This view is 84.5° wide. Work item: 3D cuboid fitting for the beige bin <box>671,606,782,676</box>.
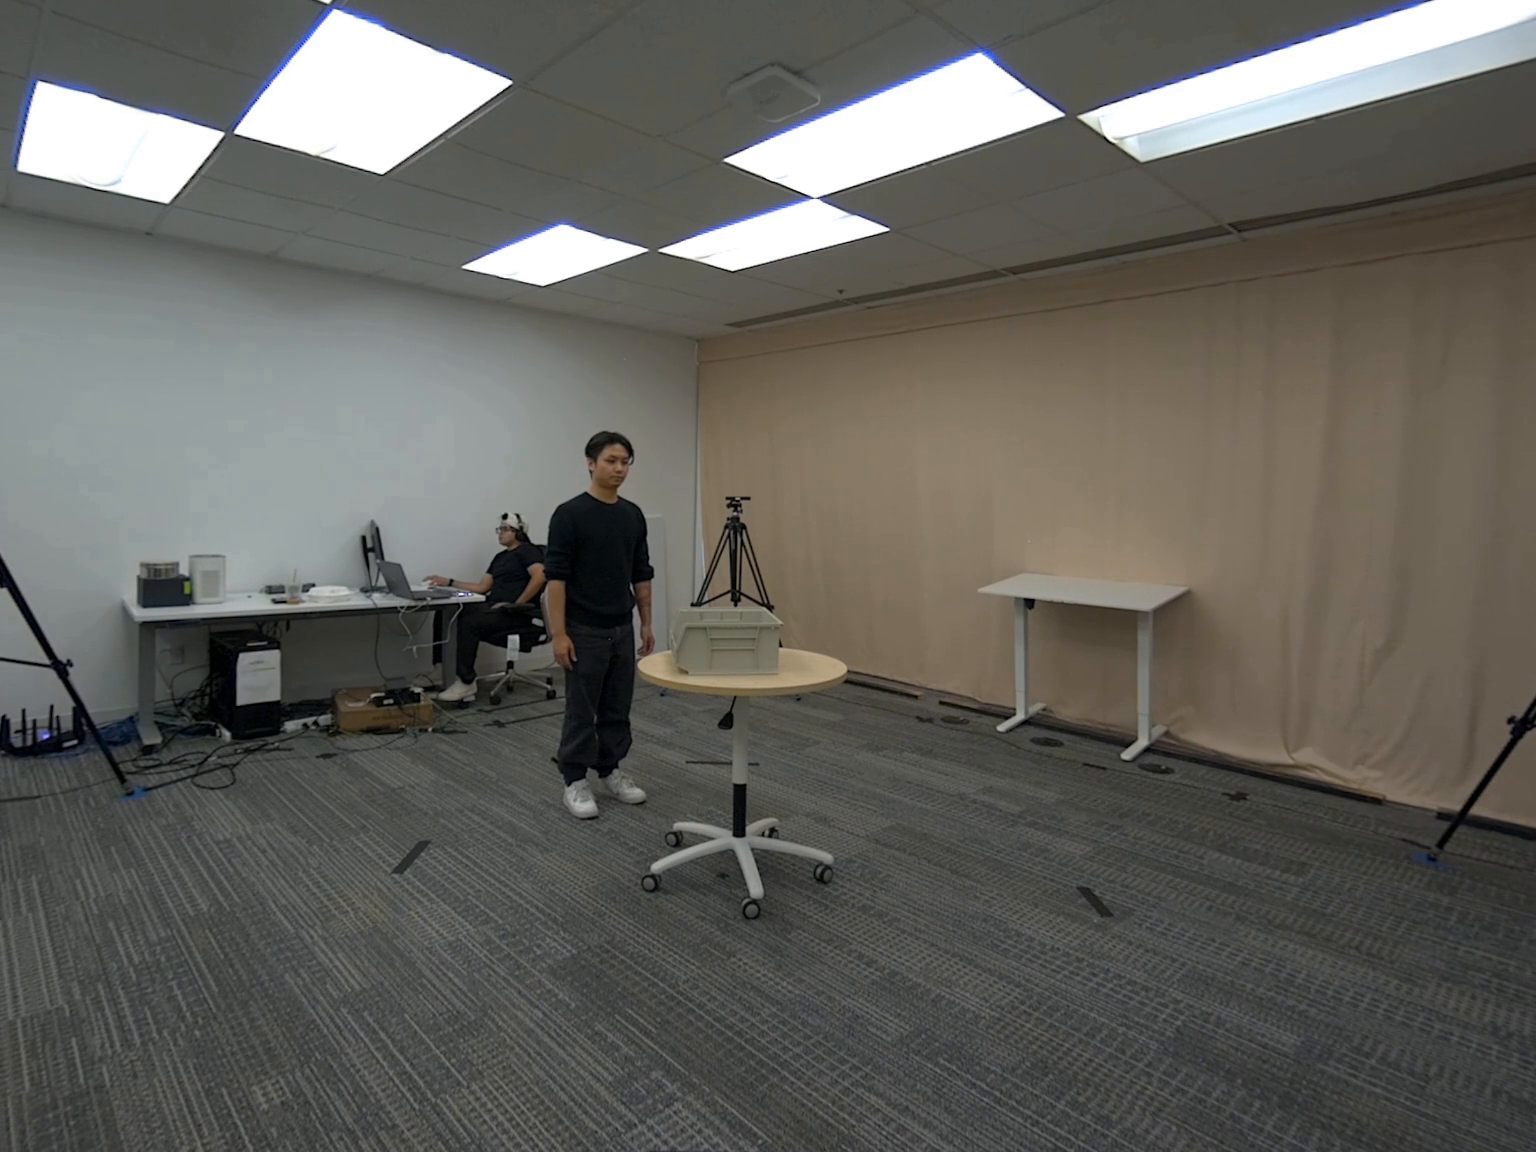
[{"bbox_3d":[-0.177,0.232,3.105,0.375,0.188,0.426,1,5,-8],"label":"beige bin"}]
